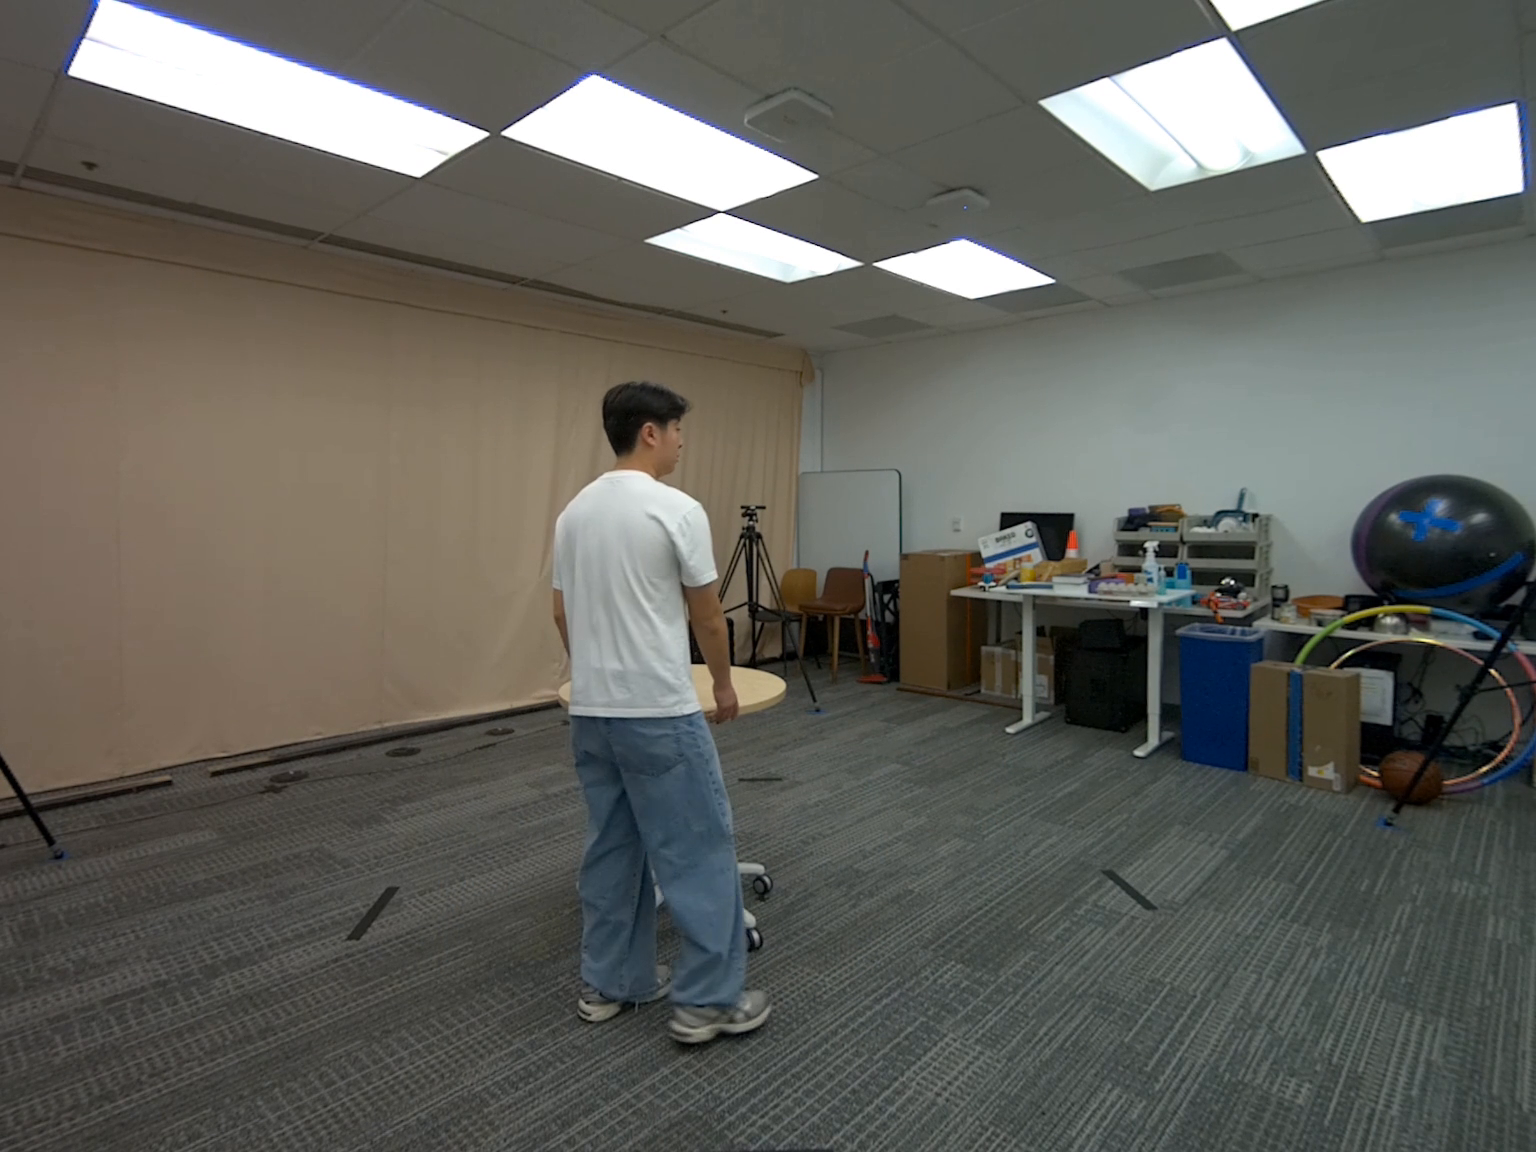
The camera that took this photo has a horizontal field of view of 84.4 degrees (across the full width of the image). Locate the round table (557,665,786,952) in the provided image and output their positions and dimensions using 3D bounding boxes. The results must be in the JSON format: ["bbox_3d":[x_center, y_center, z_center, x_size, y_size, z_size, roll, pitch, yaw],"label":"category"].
[{"bbox_3d":[-0.314,0.766,2.872,0.763,0.792,0.767,-1,4,-2],"label":"round table"}]
